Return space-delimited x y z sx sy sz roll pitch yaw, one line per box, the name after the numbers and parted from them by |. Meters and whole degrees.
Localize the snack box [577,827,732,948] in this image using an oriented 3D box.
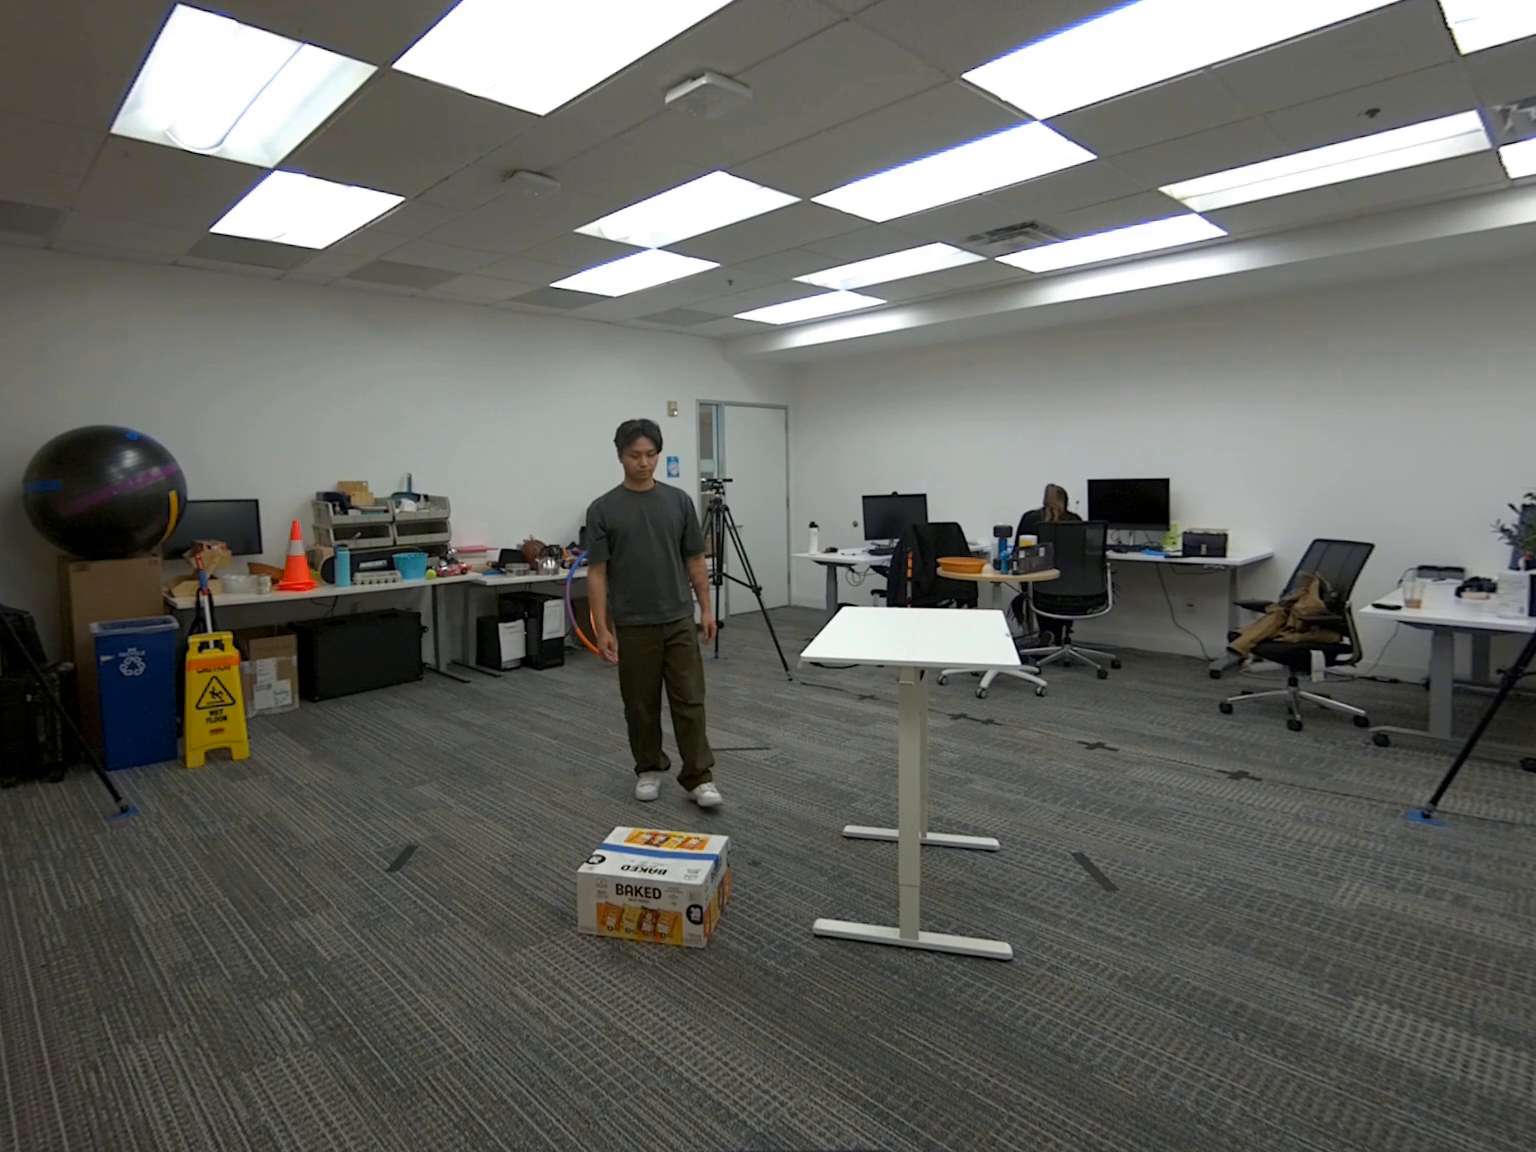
-0.358 0.993 2.748 0.410 0.205 0.337 1 6 13 | snack box
